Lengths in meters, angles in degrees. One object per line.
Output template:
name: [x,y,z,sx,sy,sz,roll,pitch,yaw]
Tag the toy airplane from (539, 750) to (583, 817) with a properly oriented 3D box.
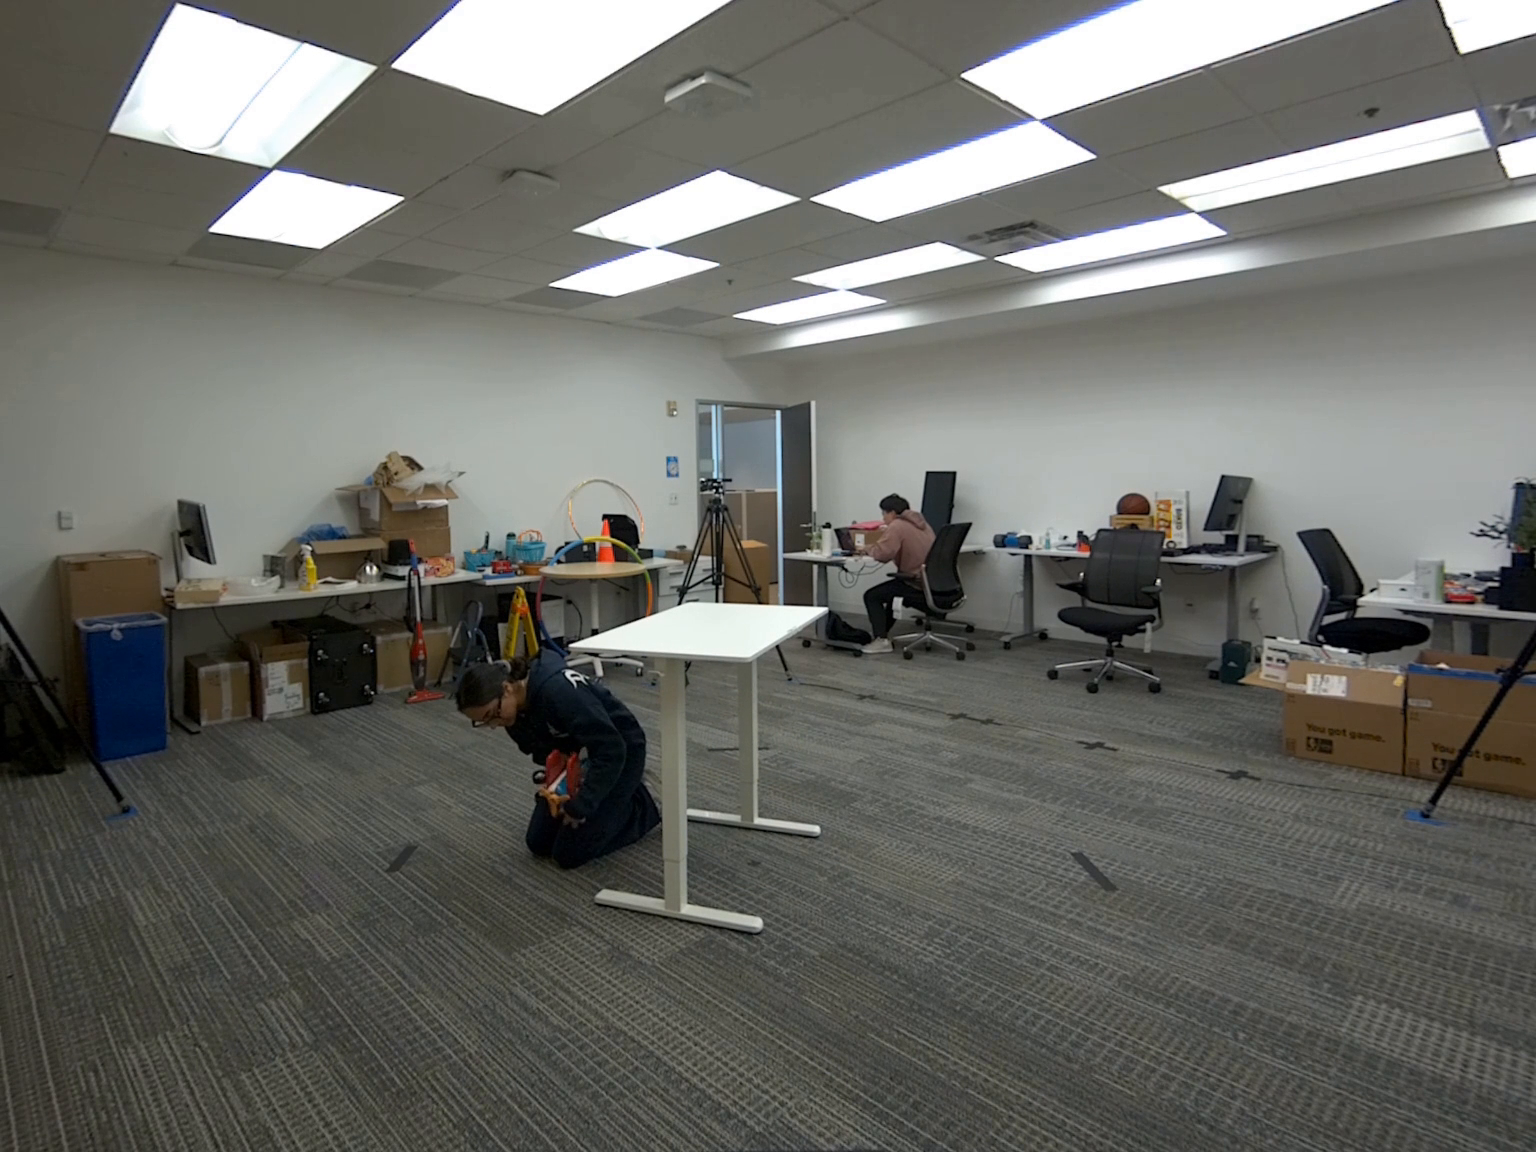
toy airplane: [-0.712,0.698,3.016,0.161,0.242,0.260,13,52,31]
